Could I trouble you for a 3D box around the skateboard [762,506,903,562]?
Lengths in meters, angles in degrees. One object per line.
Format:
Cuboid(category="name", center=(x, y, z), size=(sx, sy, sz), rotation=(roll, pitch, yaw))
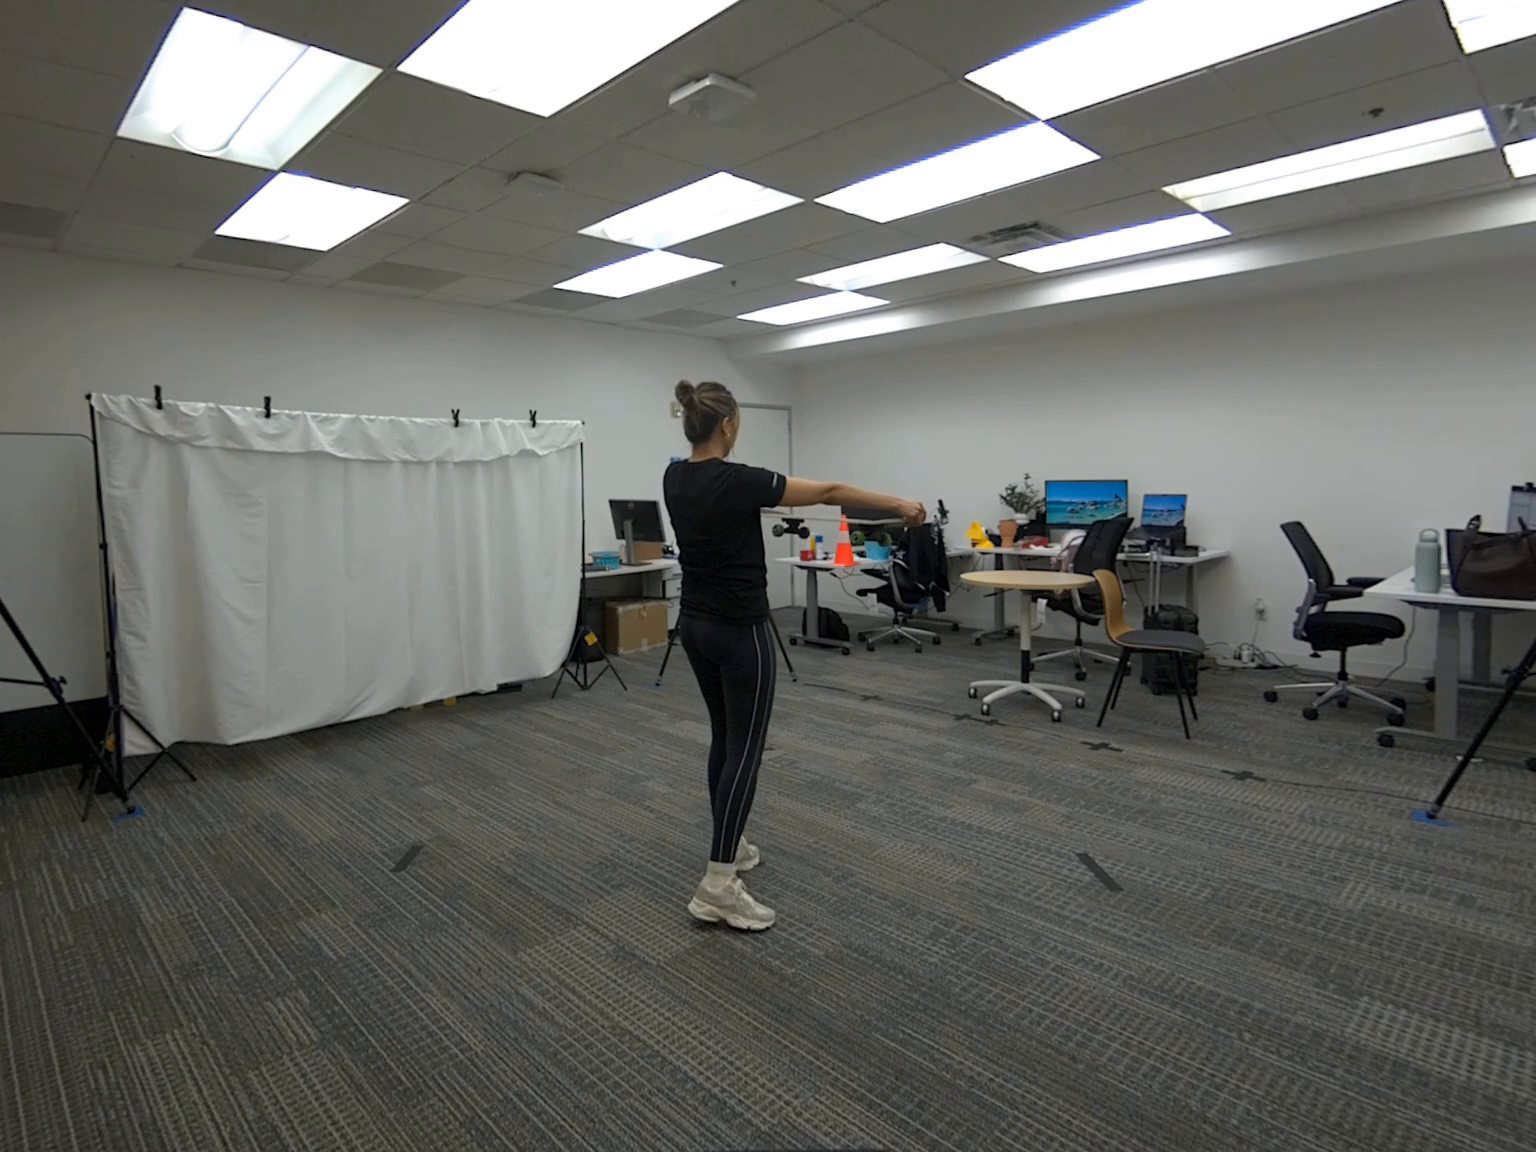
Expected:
Cuboid(category="skateboard", center=(0.233, -0.184, 3.259), size=(0.187, 0.110, 0.811), rotation=(6, 2, -44))
